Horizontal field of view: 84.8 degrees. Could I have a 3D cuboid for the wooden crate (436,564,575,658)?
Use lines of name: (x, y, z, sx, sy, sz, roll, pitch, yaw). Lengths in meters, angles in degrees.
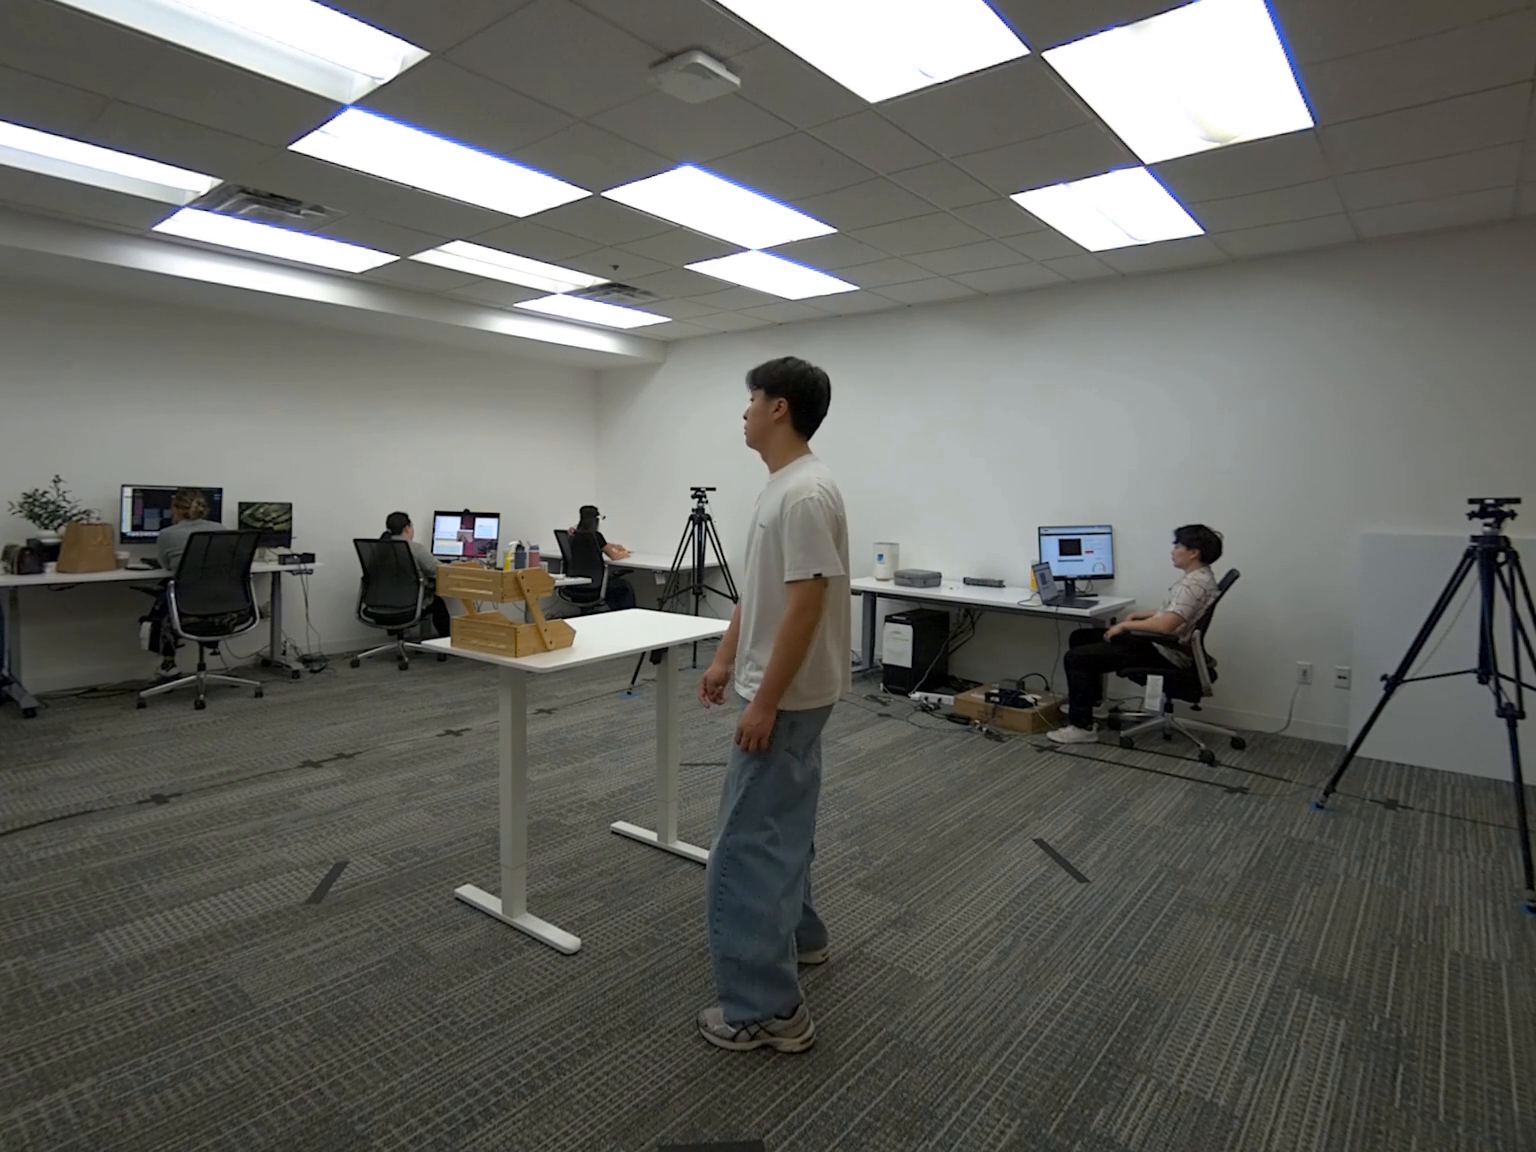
wooden crate: (-0.821, 0.090, 2.650, 0.334, 0.272, 0.294, 4, 6, 31)
